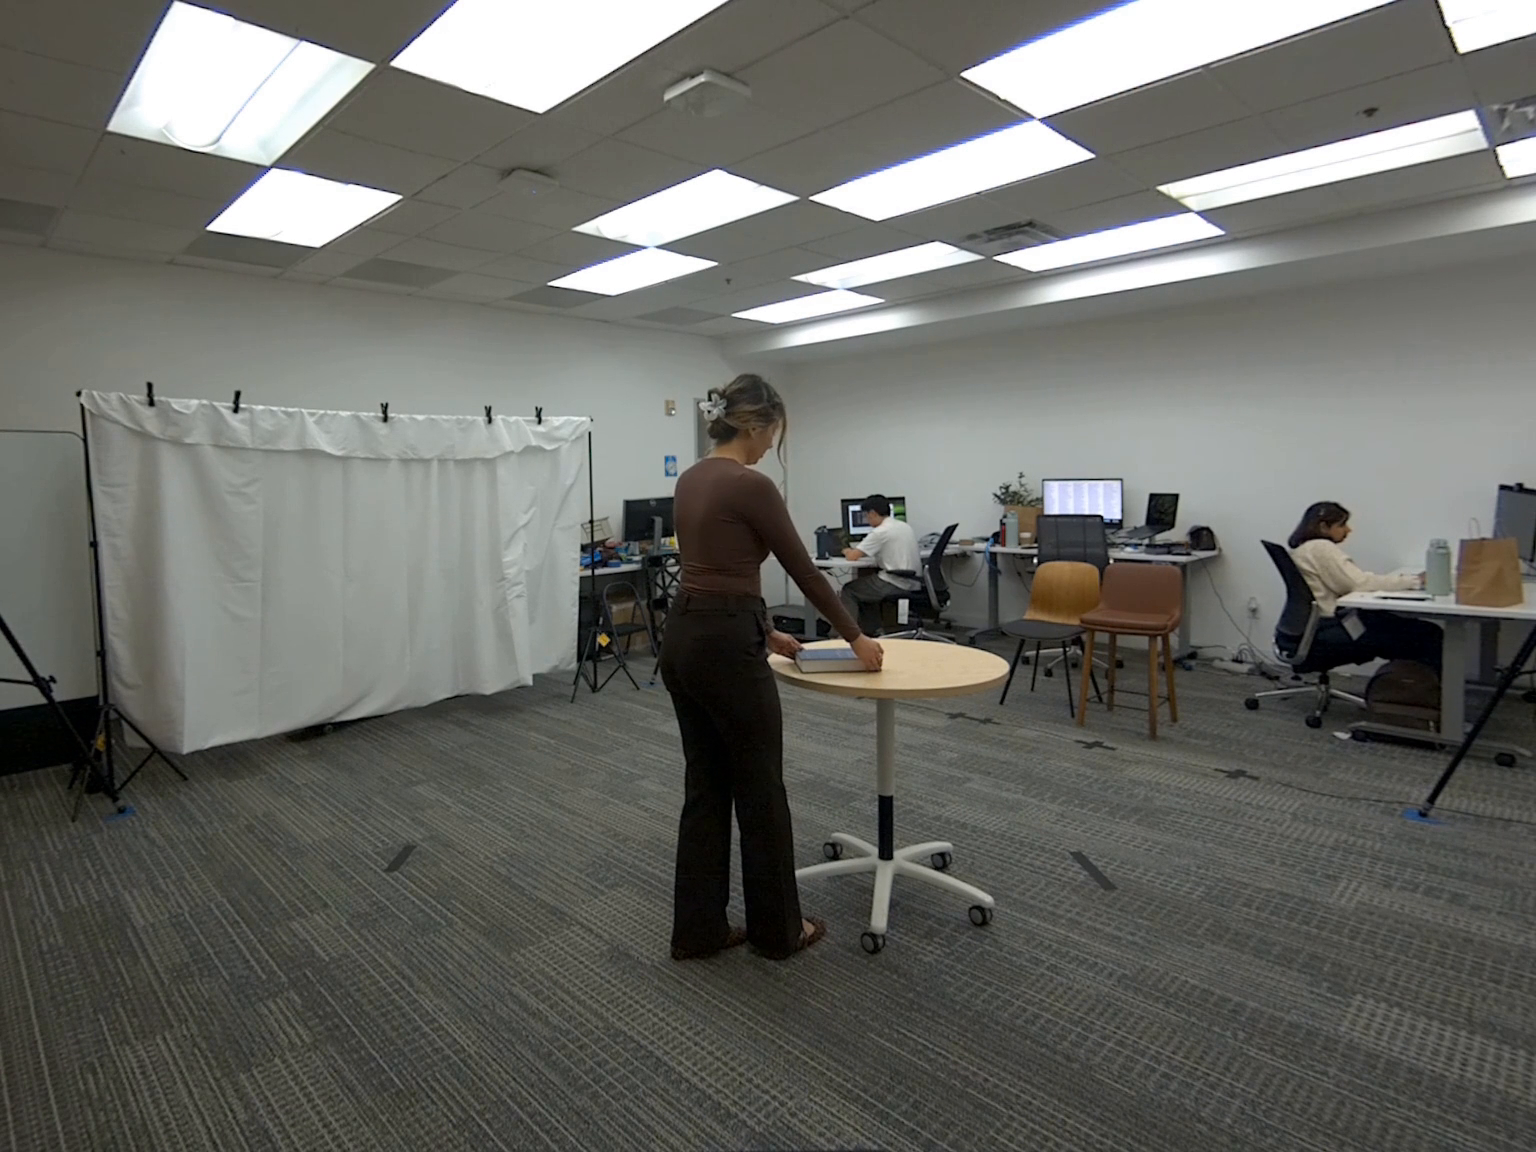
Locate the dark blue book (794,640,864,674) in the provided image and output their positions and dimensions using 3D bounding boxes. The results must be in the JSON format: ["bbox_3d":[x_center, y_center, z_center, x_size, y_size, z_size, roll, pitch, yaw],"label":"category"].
[{"bbox_3d":[0.215,0.268,2.693,0.244,0.045,0.164,-2,6,-3],"label":"dark blue book"}]
